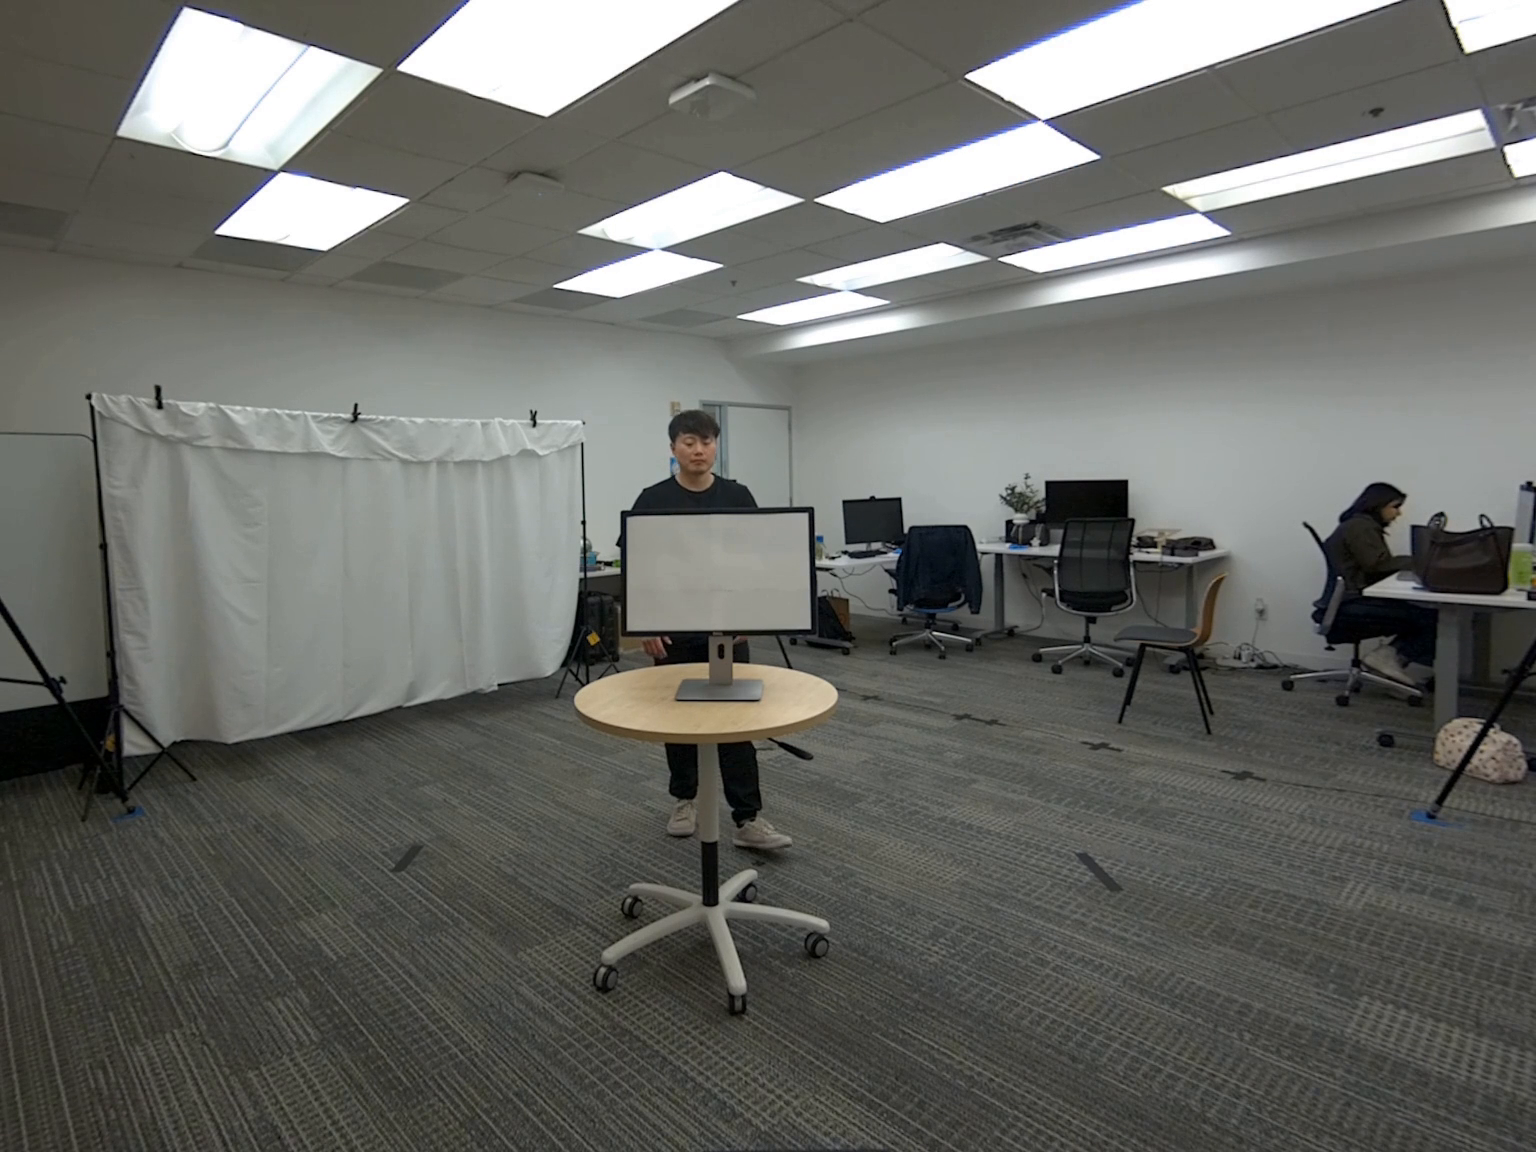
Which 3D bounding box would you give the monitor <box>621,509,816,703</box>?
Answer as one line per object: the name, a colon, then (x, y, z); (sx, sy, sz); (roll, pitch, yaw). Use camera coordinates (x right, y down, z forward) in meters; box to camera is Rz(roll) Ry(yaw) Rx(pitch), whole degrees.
monitor: (-0.146, 0.081, 2.488); (0.540, 0.520, 0.187); (-1, 6, 3)
